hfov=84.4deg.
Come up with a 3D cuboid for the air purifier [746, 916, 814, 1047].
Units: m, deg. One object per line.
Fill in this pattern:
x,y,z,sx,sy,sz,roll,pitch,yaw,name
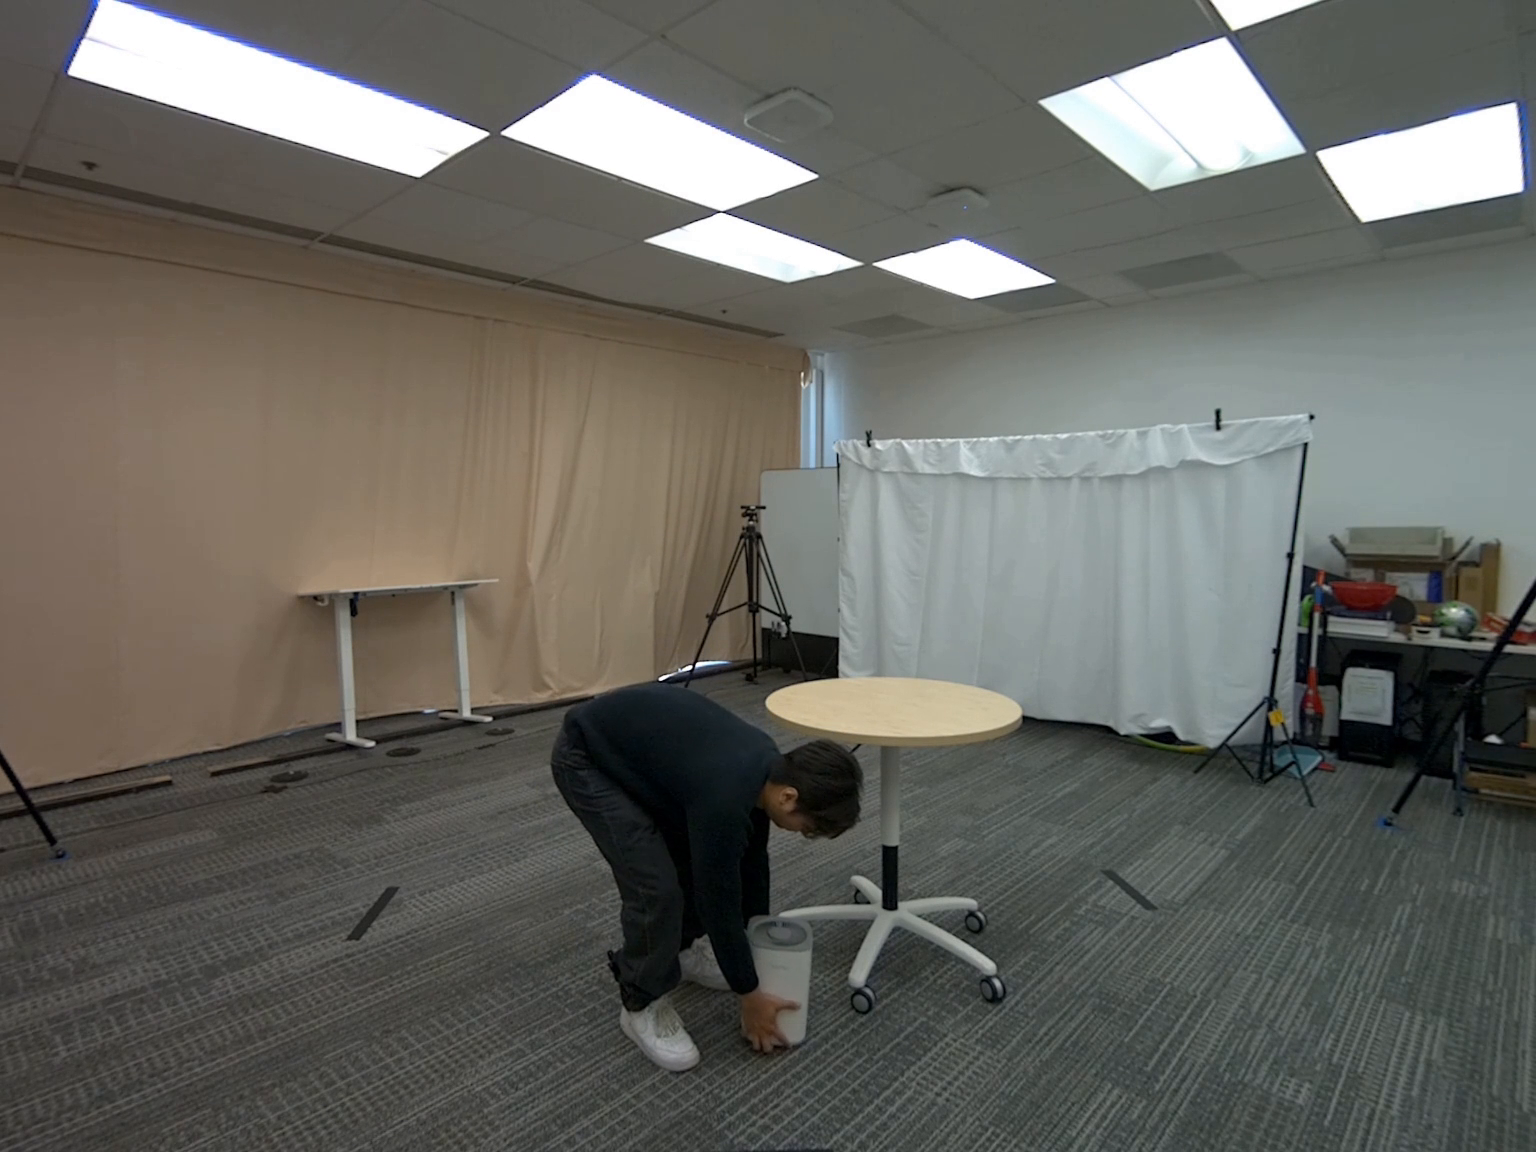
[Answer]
0.027,1.064,2.215,0.171,0.265,0.171,3,3,1,air purifier
